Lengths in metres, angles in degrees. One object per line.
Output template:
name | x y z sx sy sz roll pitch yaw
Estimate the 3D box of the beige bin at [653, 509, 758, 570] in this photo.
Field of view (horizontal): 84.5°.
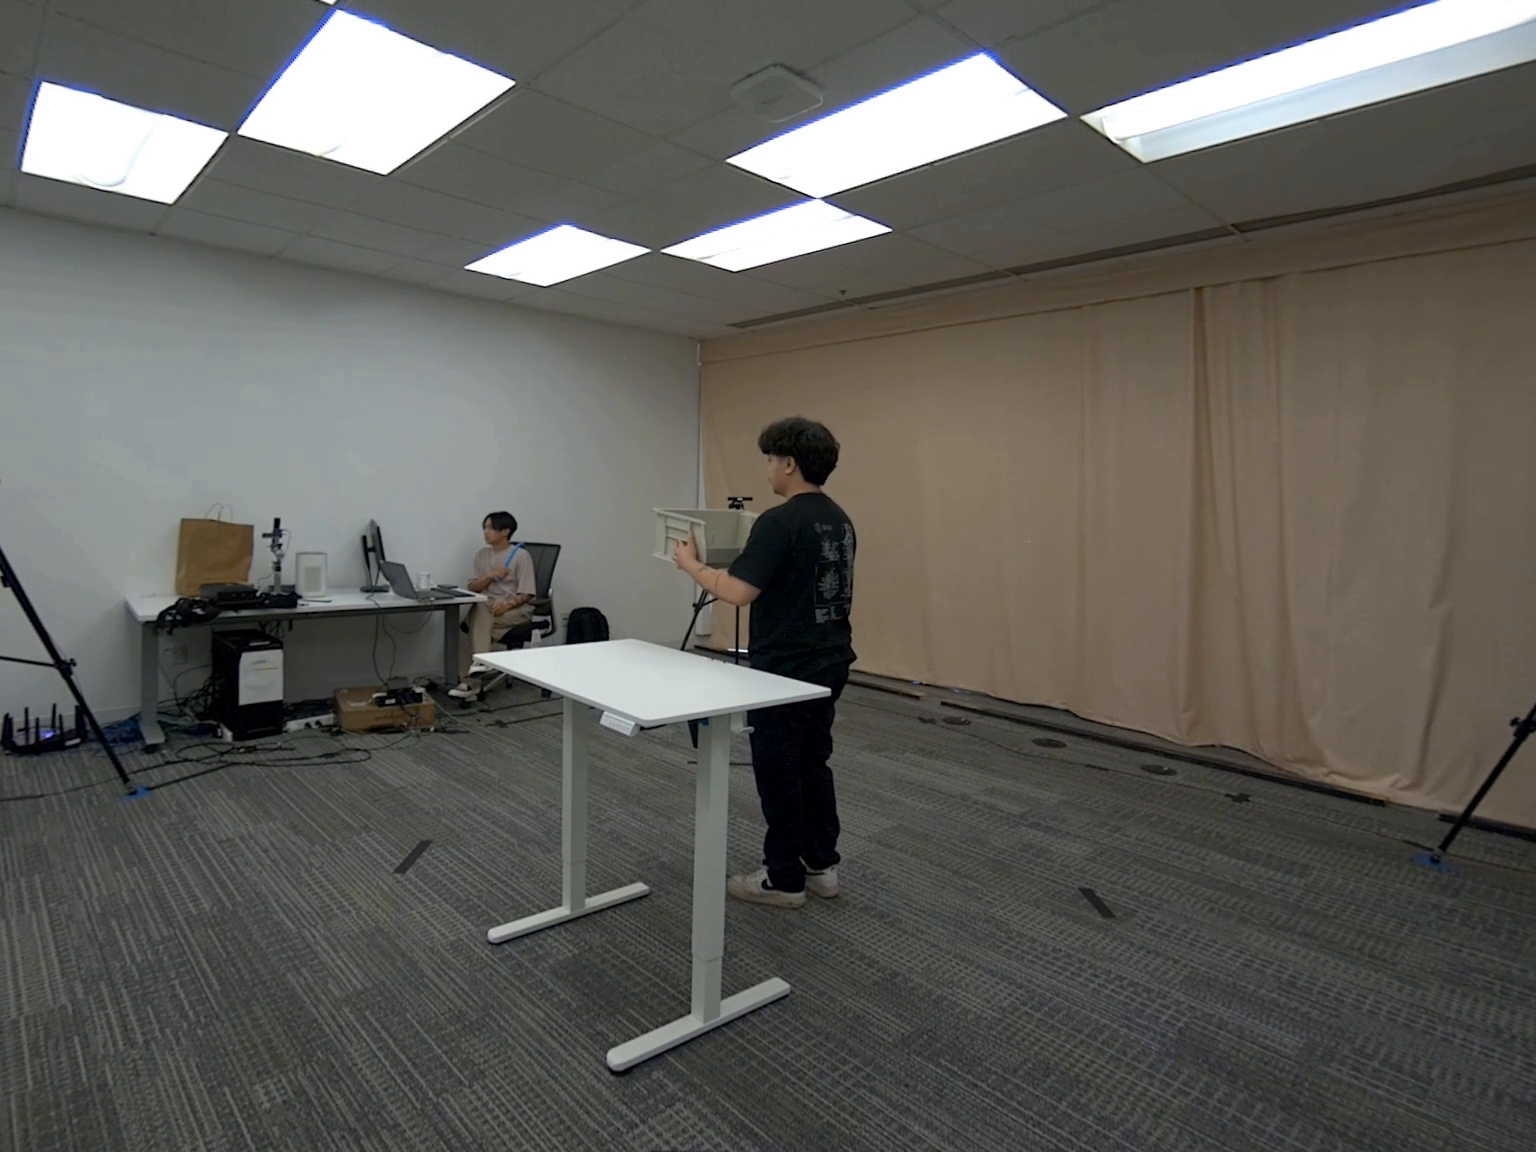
beige bin | -0.169 -0.137 3.152 0.413 0.188 0.388 -2 11 -37
